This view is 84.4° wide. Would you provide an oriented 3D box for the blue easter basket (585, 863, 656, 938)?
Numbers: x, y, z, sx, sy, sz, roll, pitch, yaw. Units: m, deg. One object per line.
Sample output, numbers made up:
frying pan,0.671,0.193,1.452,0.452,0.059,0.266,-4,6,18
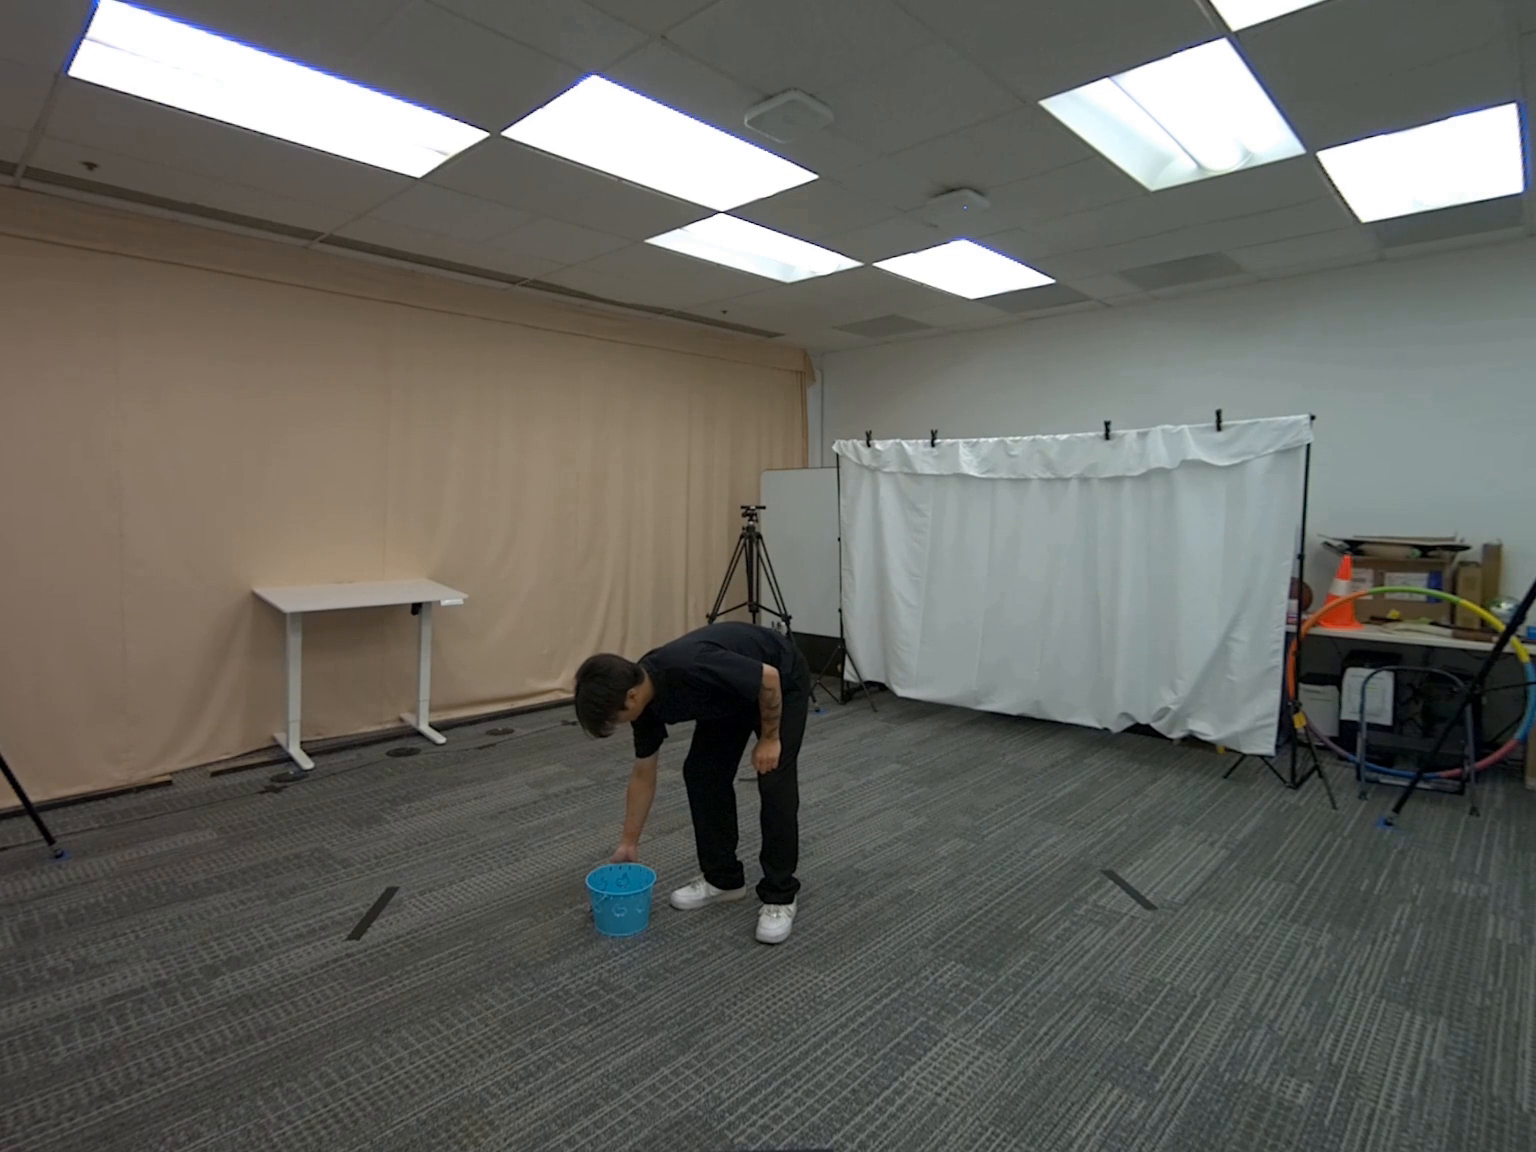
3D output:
blue easter basket,-0.494,1.085,2.822,0.243,0.155,0.244,0,5,-2
